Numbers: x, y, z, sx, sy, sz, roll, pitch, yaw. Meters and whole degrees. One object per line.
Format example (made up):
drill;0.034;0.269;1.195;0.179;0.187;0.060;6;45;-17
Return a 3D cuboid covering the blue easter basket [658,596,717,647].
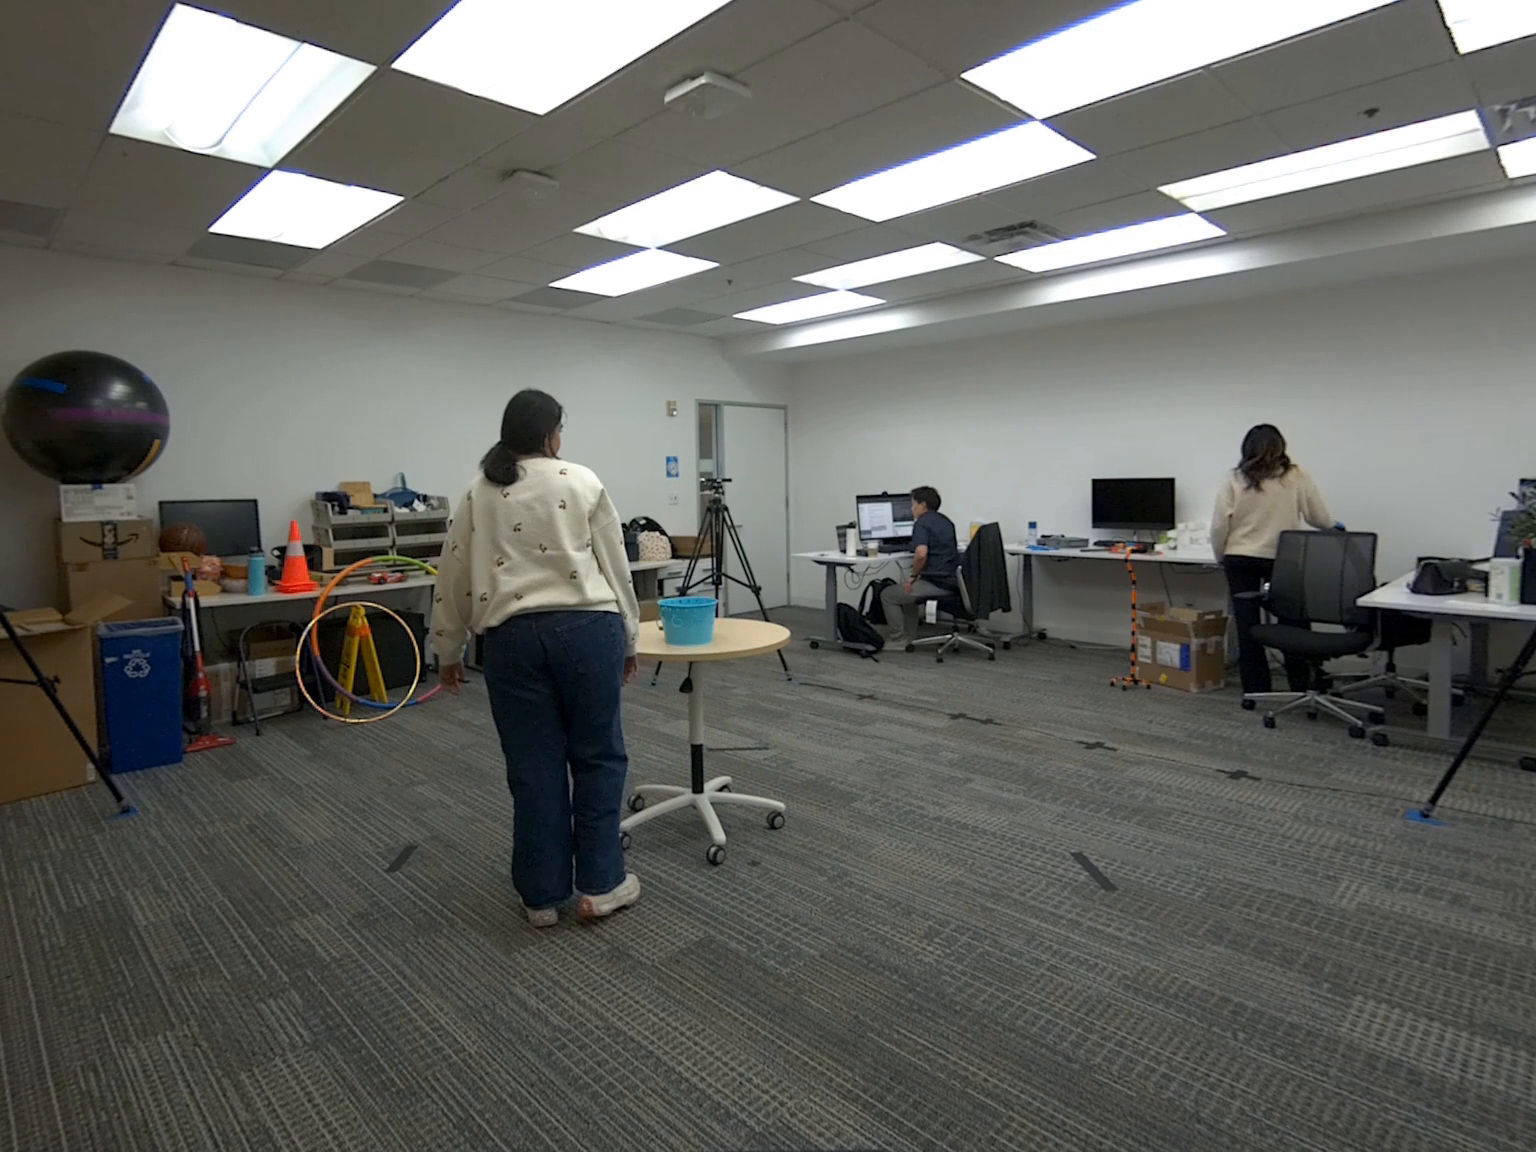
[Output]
blue easter basket;-0.305;0.176;3.274;0.243;0.155;0.245;-1;6;-2
